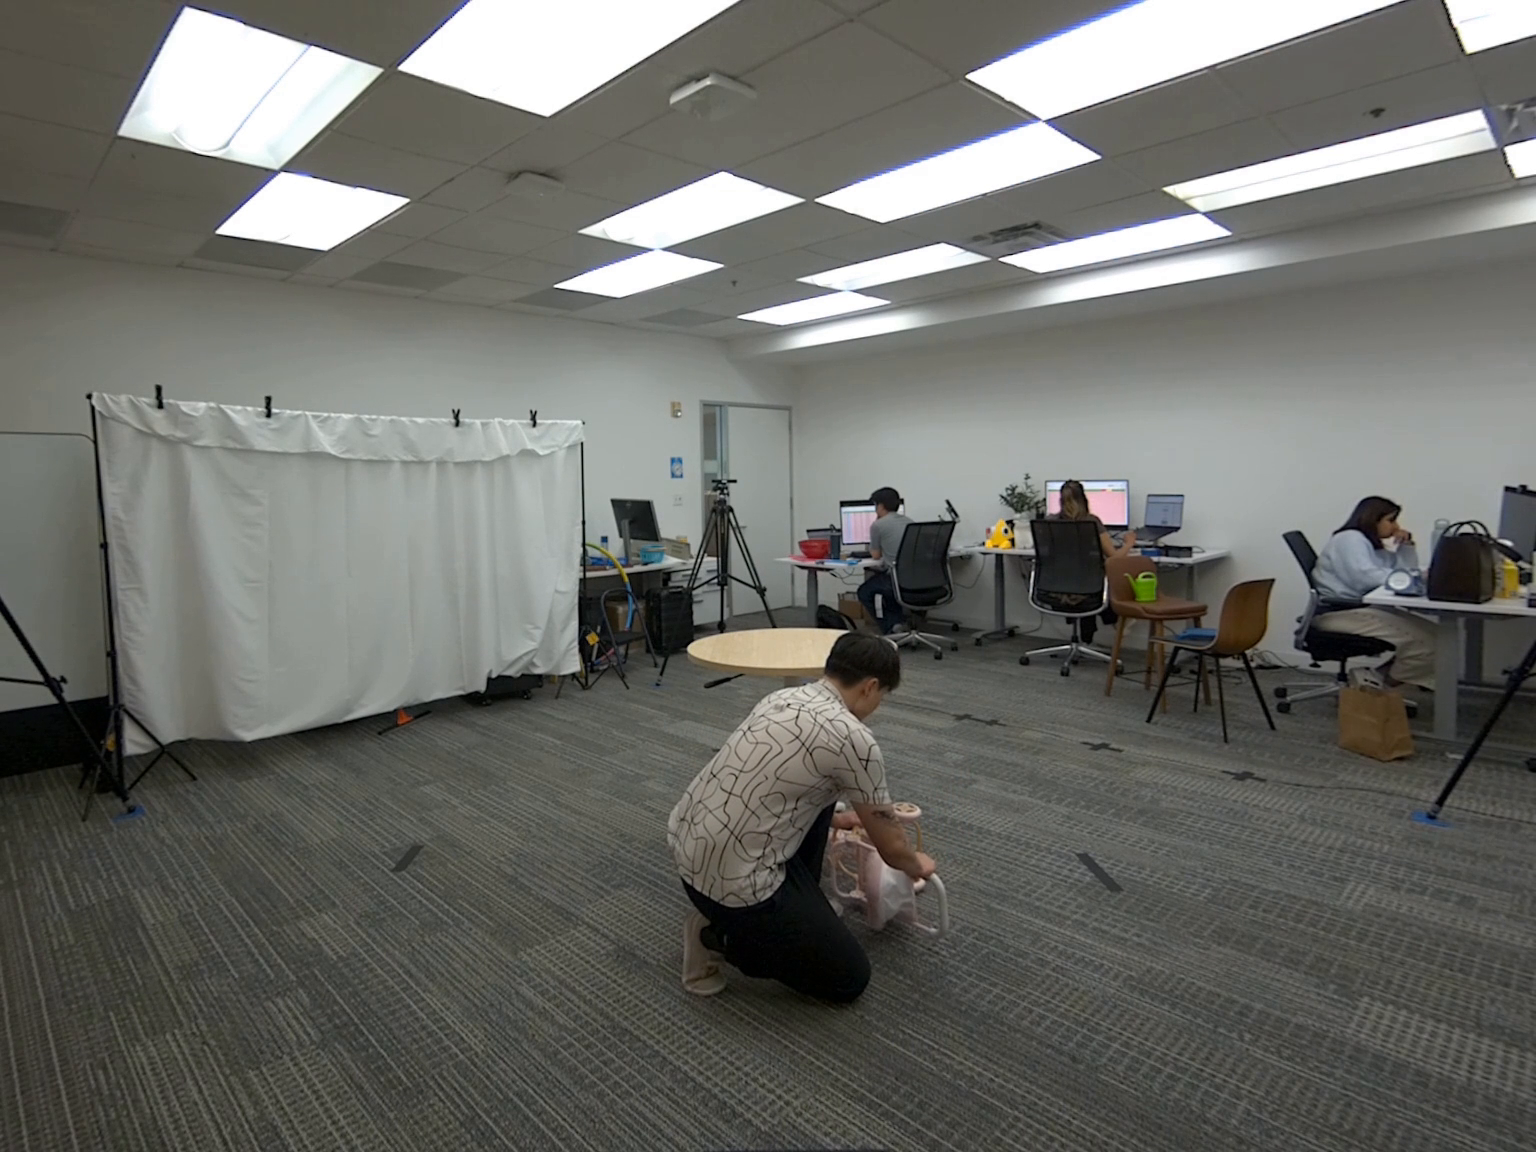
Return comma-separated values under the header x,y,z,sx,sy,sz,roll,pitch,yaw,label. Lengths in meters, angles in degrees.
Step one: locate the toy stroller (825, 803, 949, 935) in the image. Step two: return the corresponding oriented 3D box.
x,y,z,sx,sy,sz,roll,pitch,yaw,label
0.357,0.934,2.752,0.343,0.280,0.536,0,7,4,toy stroller
